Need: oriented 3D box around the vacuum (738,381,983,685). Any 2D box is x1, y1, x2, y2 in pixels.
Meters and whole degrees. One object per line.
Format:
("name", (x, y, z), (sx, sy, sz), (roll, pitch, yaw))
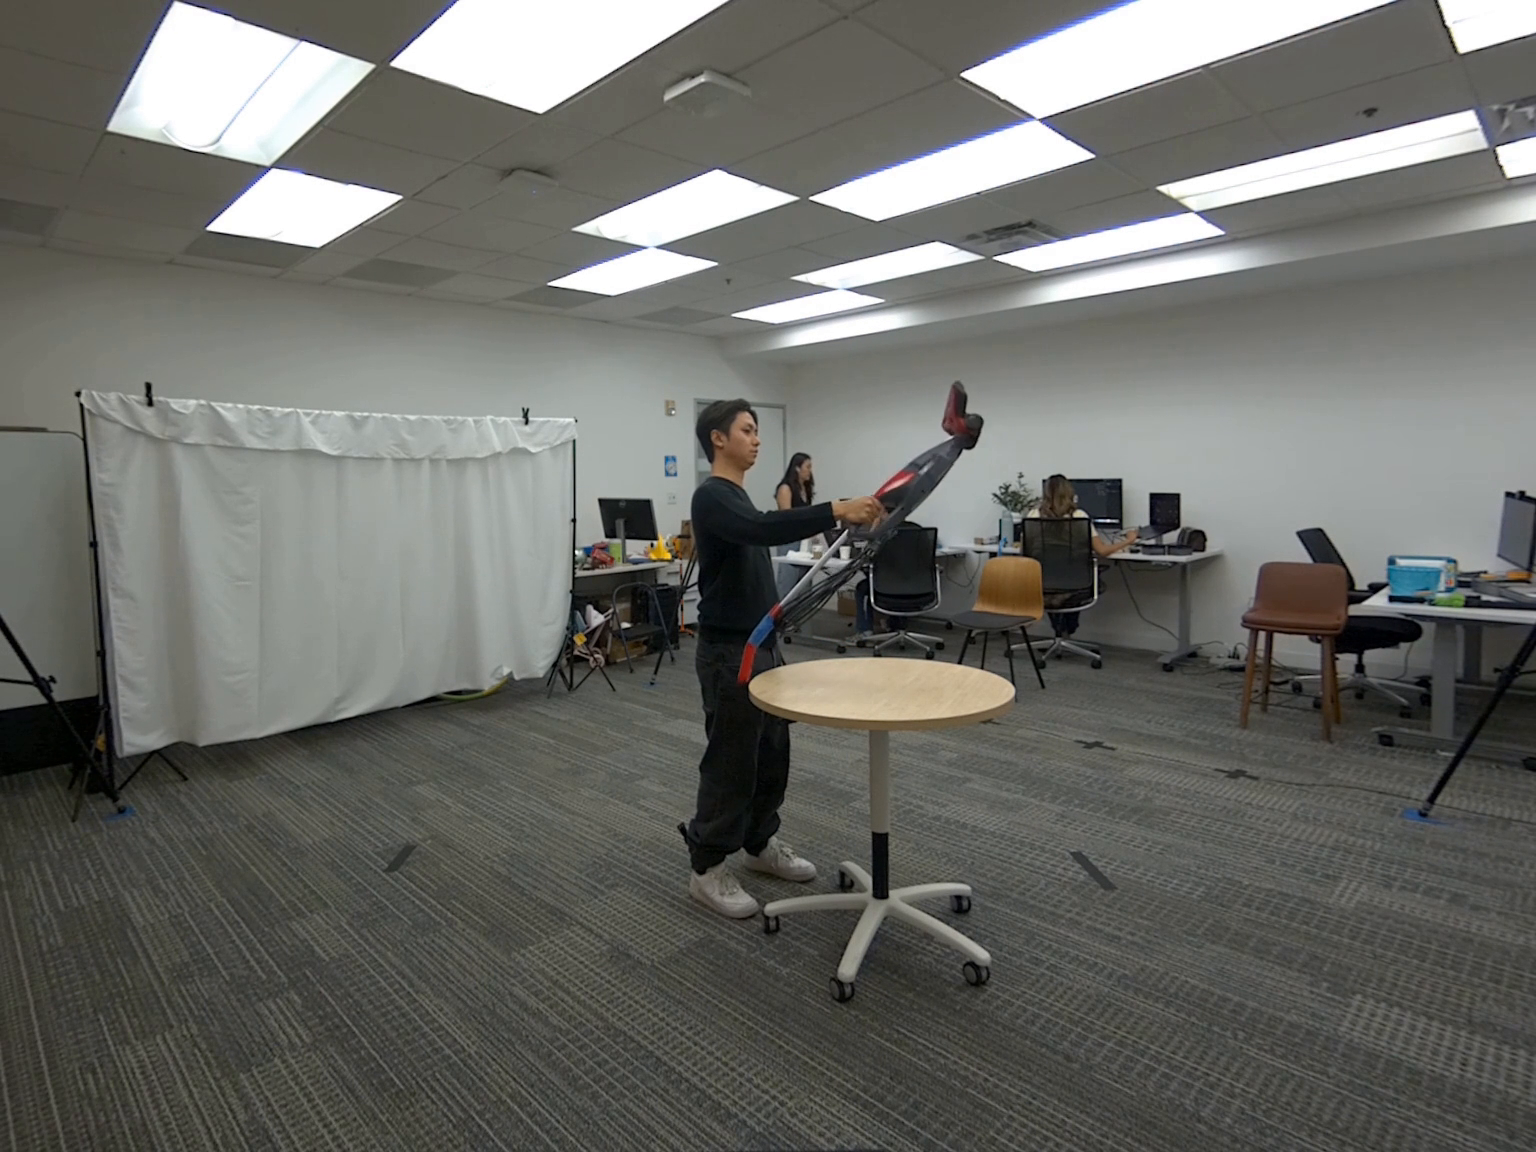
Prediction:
("vacuum", (0.279, -0.088, 2.448), (0.147, 1.050, 0.246), (34, -15, 17))
